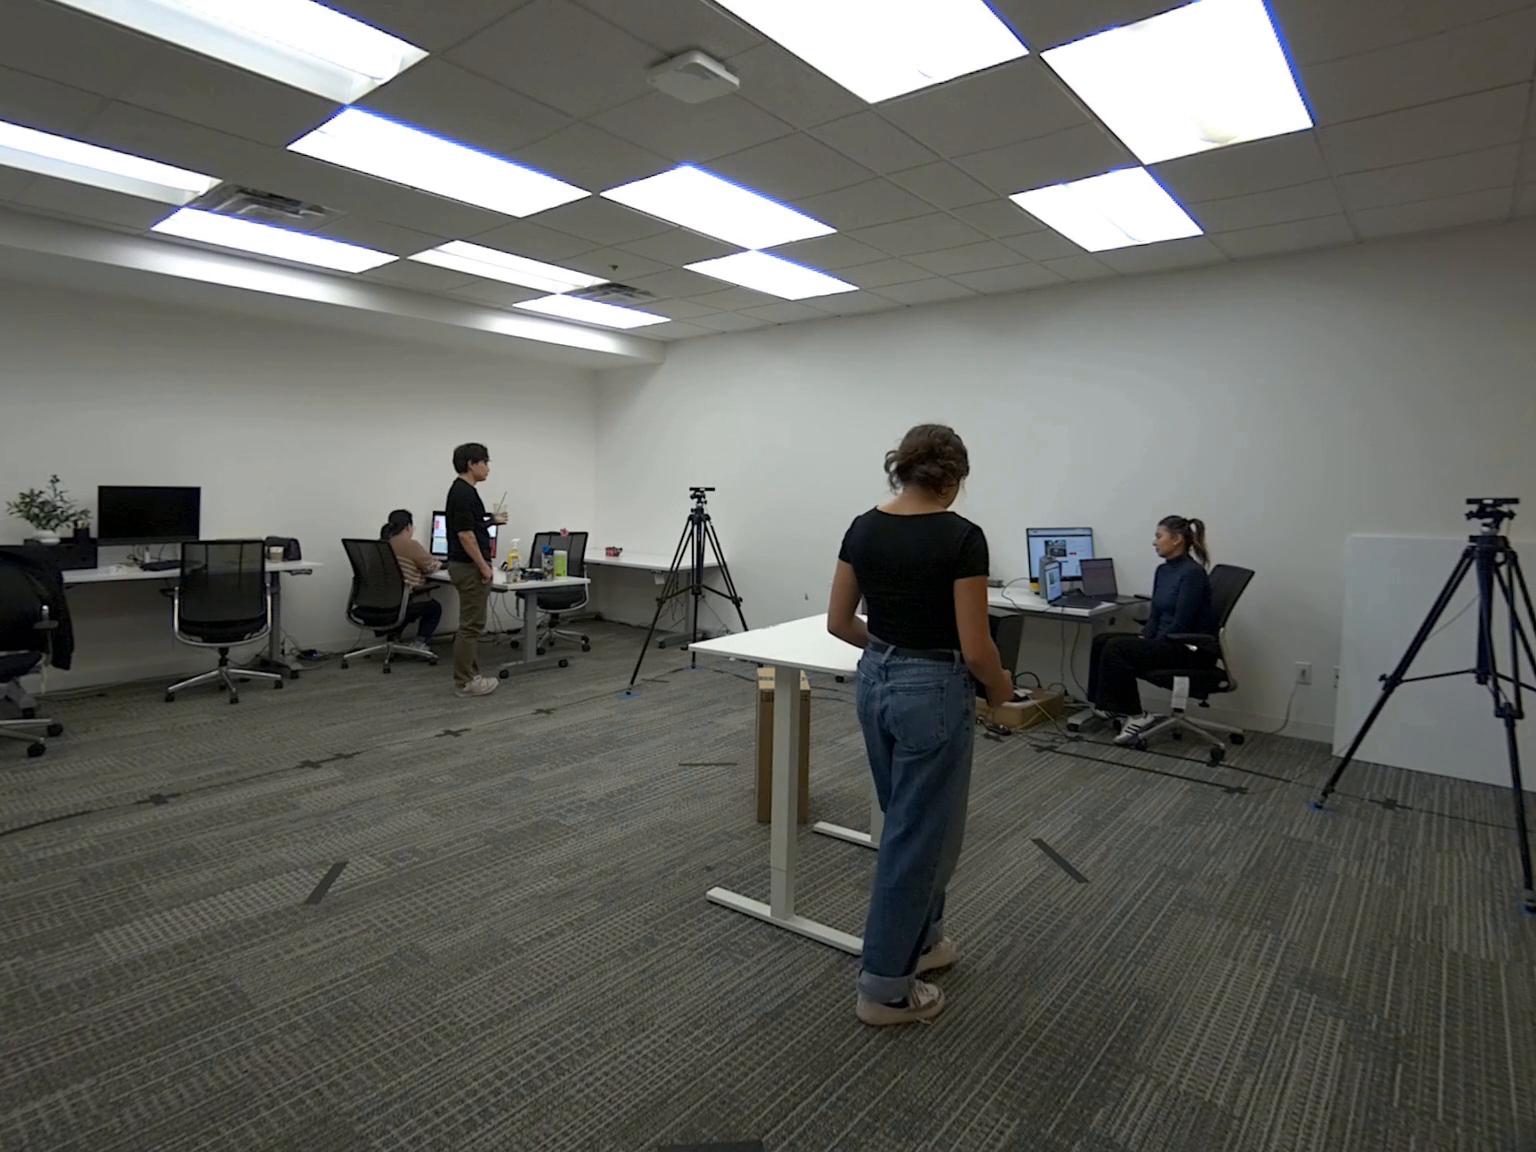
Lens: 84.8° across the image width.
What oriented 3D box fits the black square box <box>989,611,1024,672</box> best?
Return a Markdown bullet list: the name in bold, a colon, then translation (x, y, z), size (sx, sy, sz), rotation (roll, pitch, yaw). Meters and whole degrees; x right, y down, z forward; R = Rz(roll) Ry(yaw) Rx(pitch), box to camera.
- **black square box**: translation (0.567, 0.197, 2.390), size (0.225, 0.227, 0.151), rotation (13, 8, 41)
